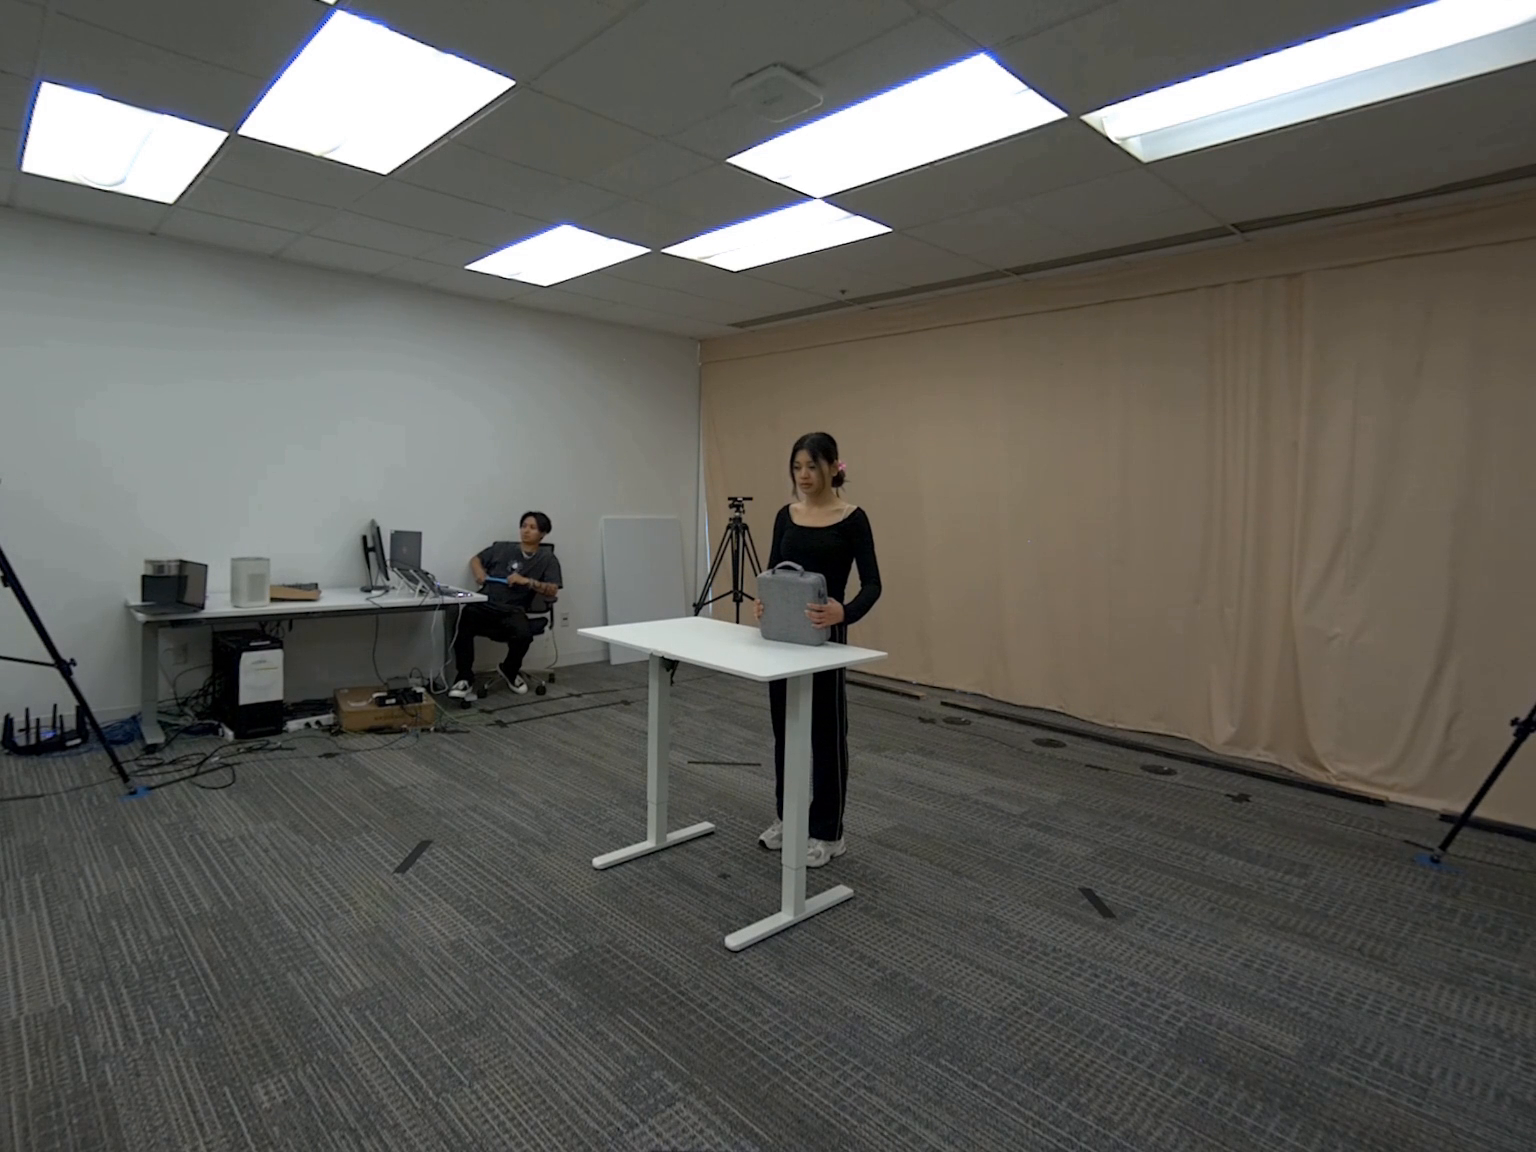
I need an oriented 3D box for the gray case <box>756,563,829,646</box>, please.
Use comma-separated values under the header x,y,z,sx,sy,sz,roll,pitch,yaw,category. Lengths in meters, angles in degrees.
x,y,z,sx,sy,sz,roll,pitch,yaw,category
0.076,0.110,3.000,0.263,0.257,0.103,5,19,35,gray case
